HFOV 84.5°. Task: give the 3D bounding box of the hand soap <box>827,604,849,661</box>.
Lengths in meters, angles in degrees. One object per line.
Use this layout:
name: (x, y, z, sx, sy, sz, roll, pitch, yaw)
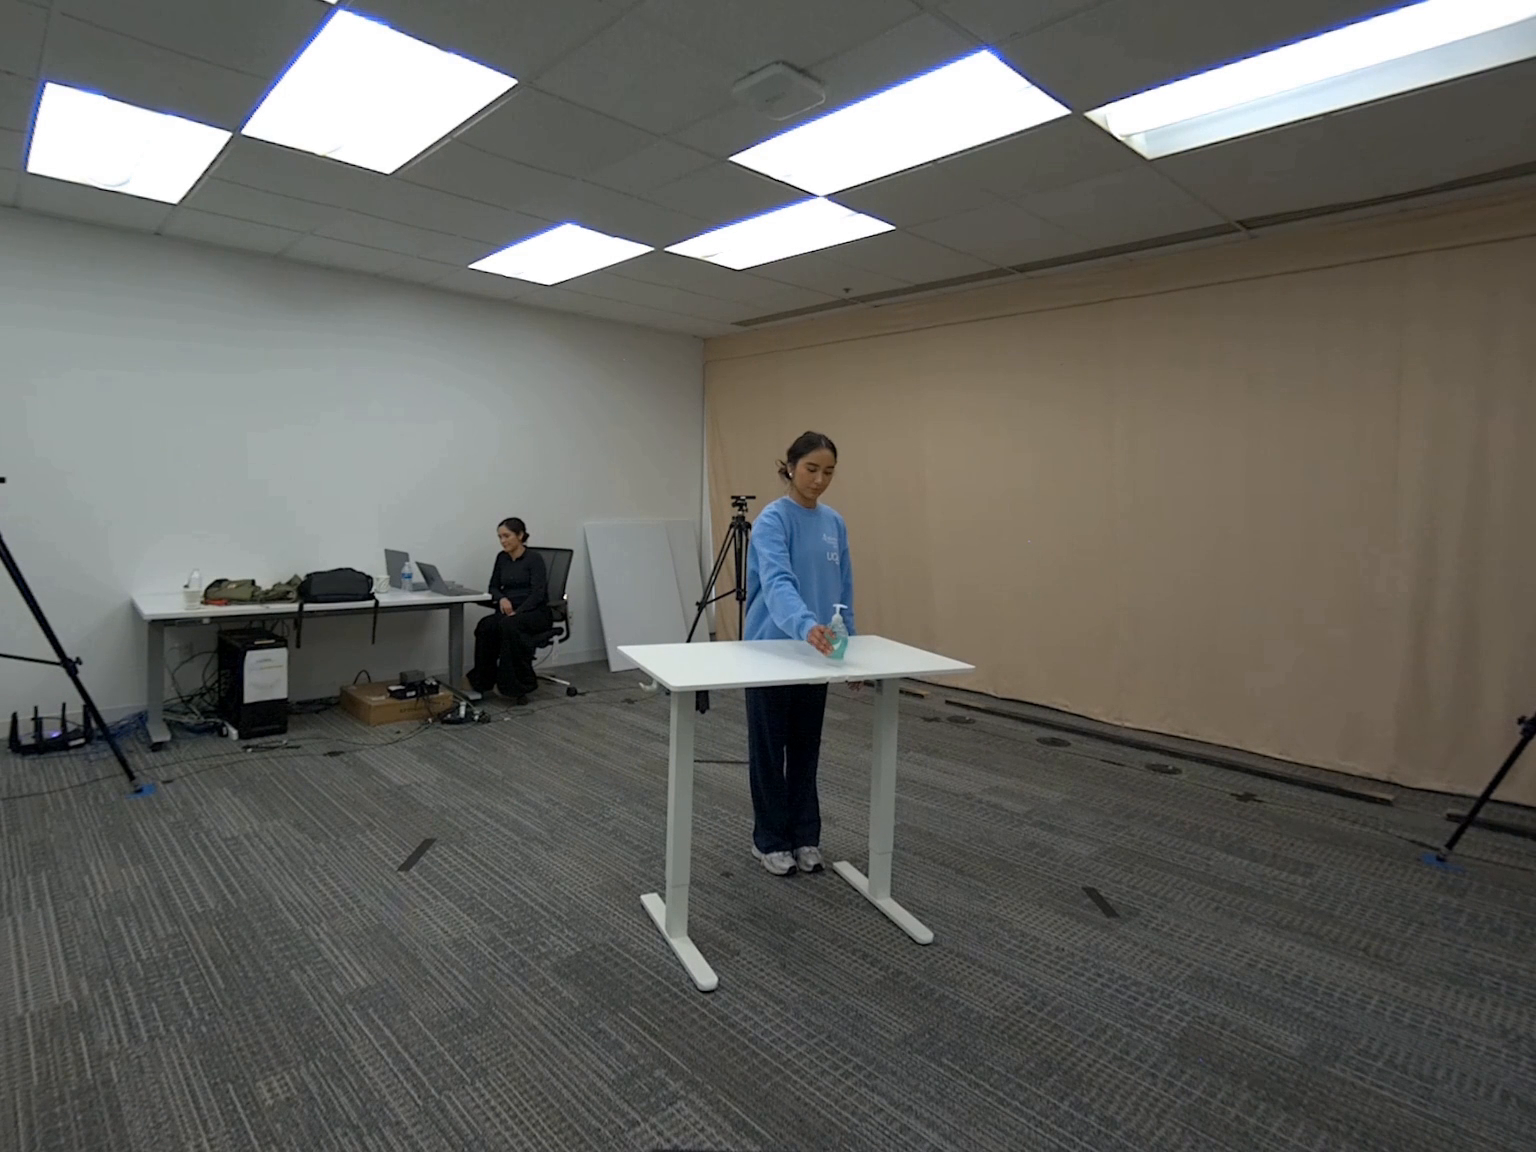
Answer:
hand soap: (0.202, 0.170, 2.580, 0.086, 0.168, 0.042, 4, 2, 37)
